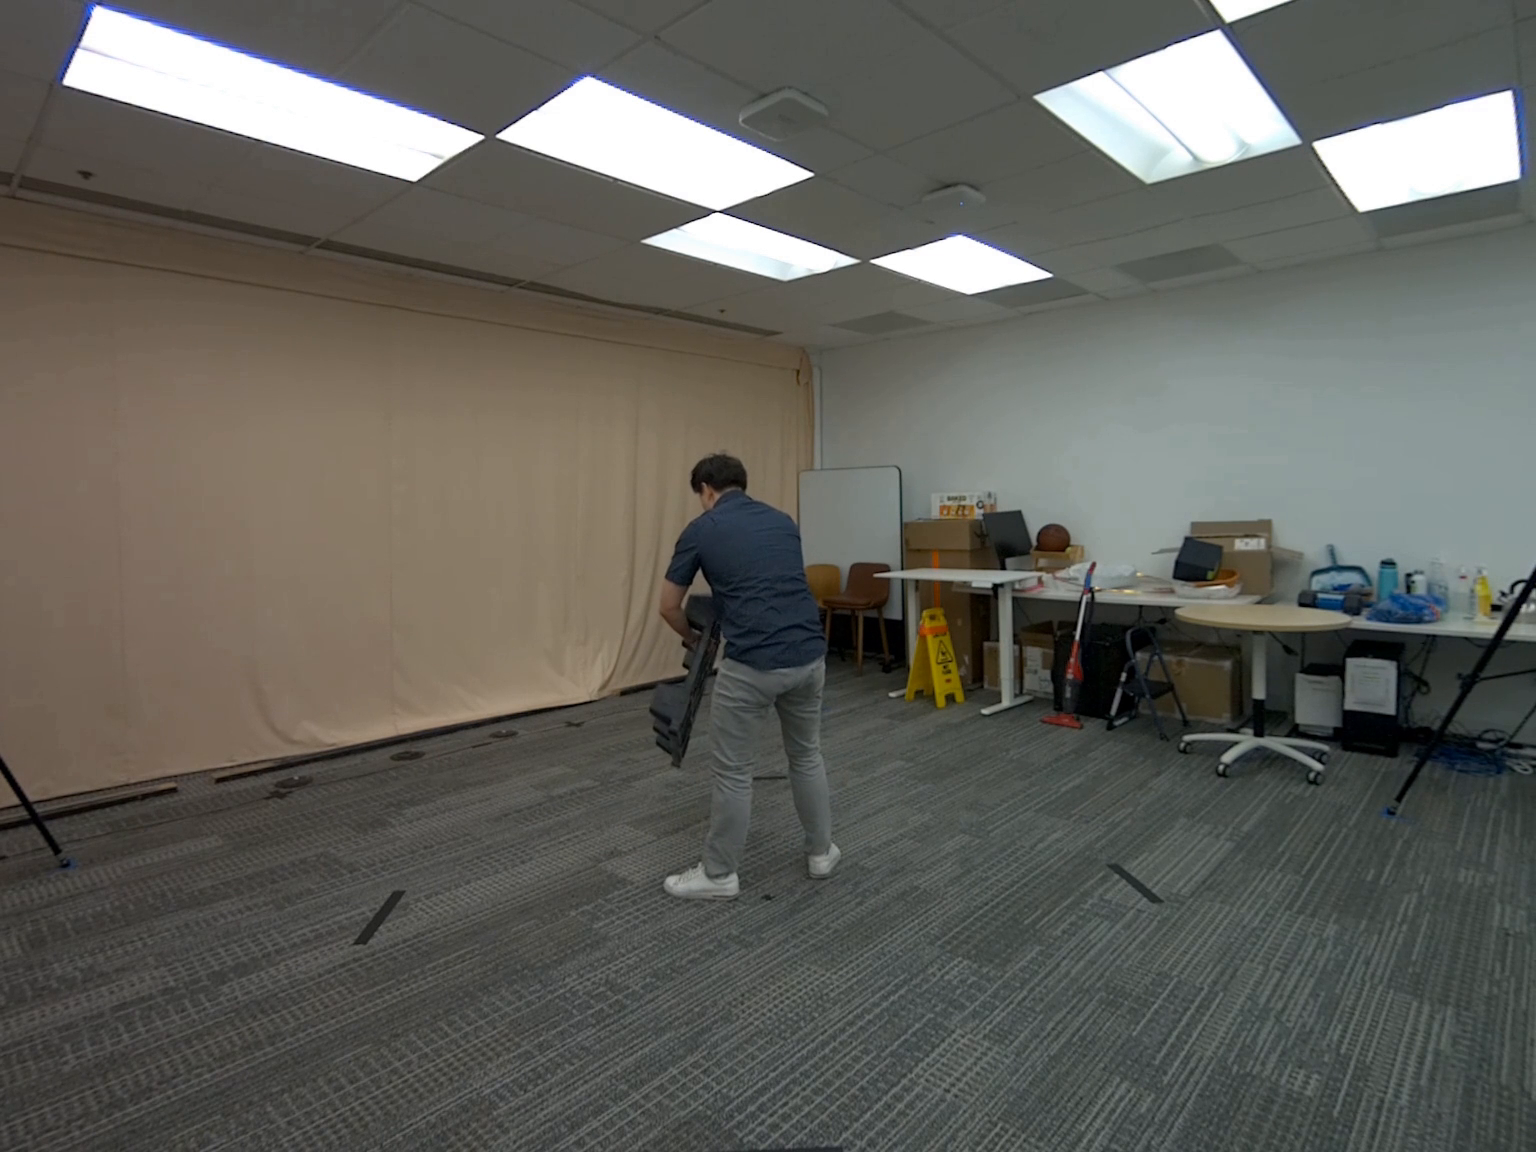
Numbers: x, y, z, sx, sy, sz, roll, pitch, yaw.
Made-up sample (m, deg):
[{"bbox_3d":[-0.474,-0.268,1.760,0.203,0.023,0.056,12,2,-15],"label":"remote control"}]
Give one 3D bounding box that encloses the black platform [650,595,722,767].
[{"bbox_3d":[-0.329,0.436,3.477,0.144,0.608,0.798,17,-22,1],"label":"black platform"}]
